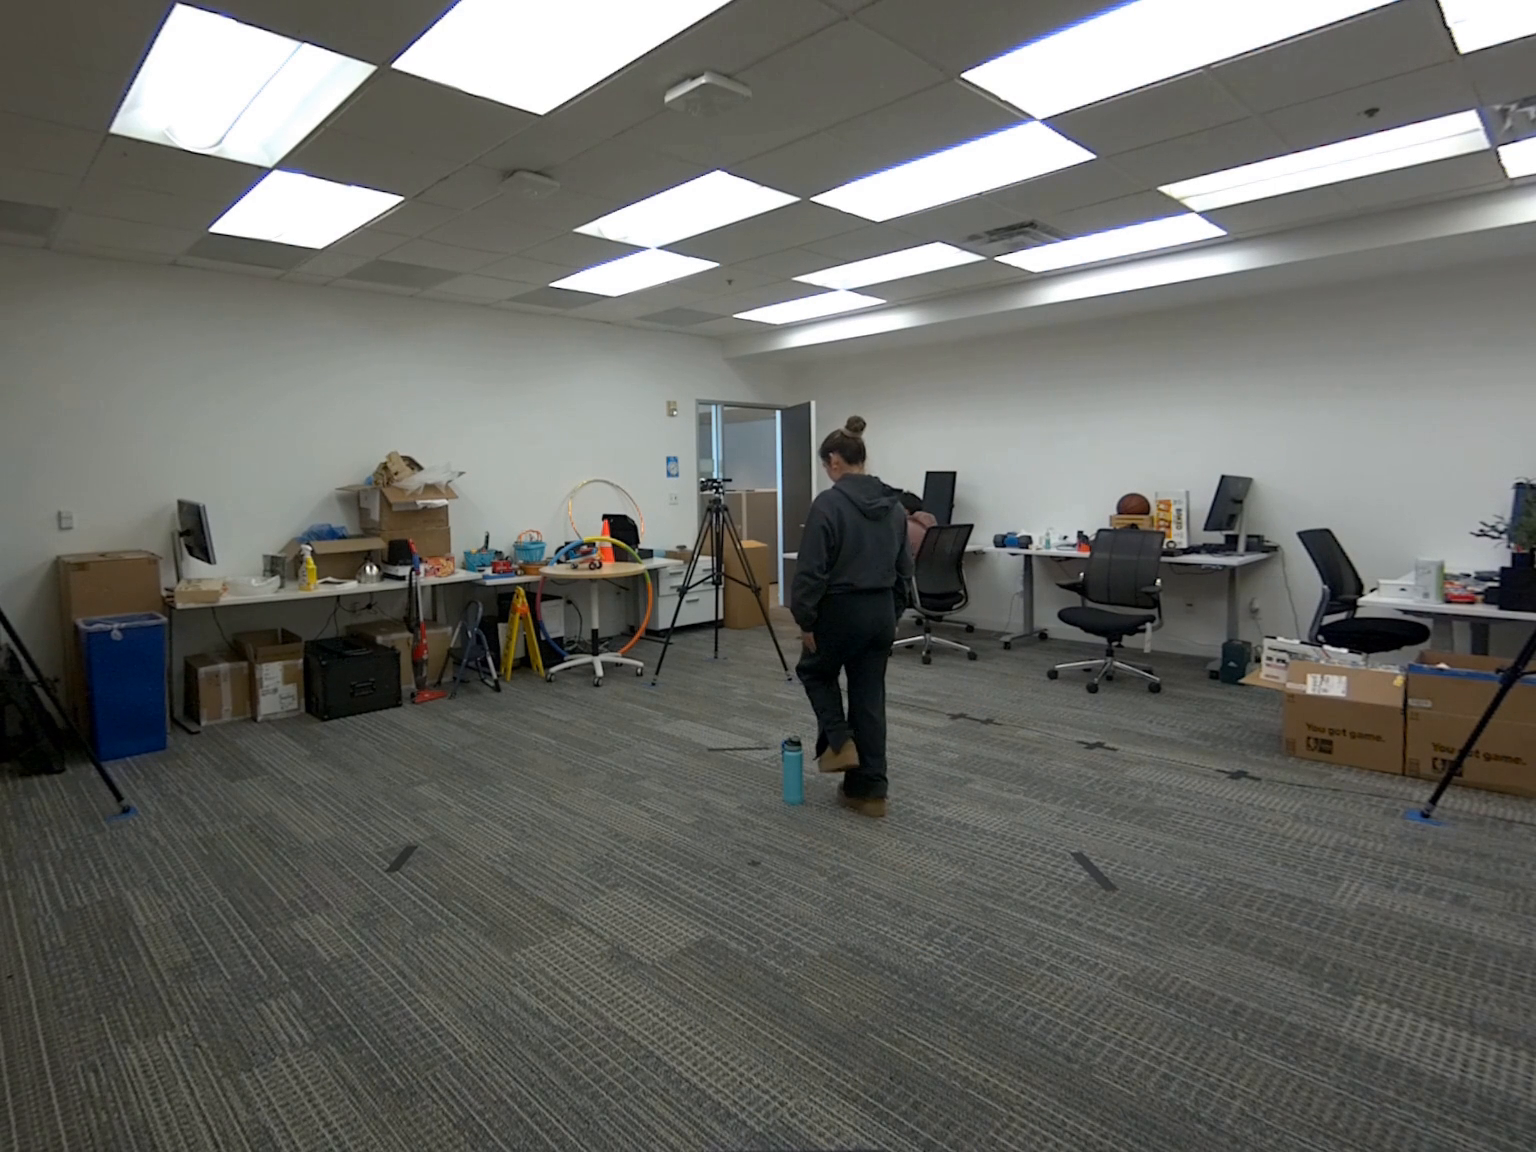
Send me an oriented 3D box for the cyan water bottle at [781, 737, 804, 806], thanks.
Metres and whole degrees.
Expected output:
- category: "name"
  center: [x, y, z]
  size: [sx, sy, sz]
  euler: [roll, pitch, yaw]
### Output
- category: "cyan water bottle"
  center: [0.115, 0.835, 3.701]
  size: [0.092, 0.282, 0.093]
  euler: [-2, 4, -1]
